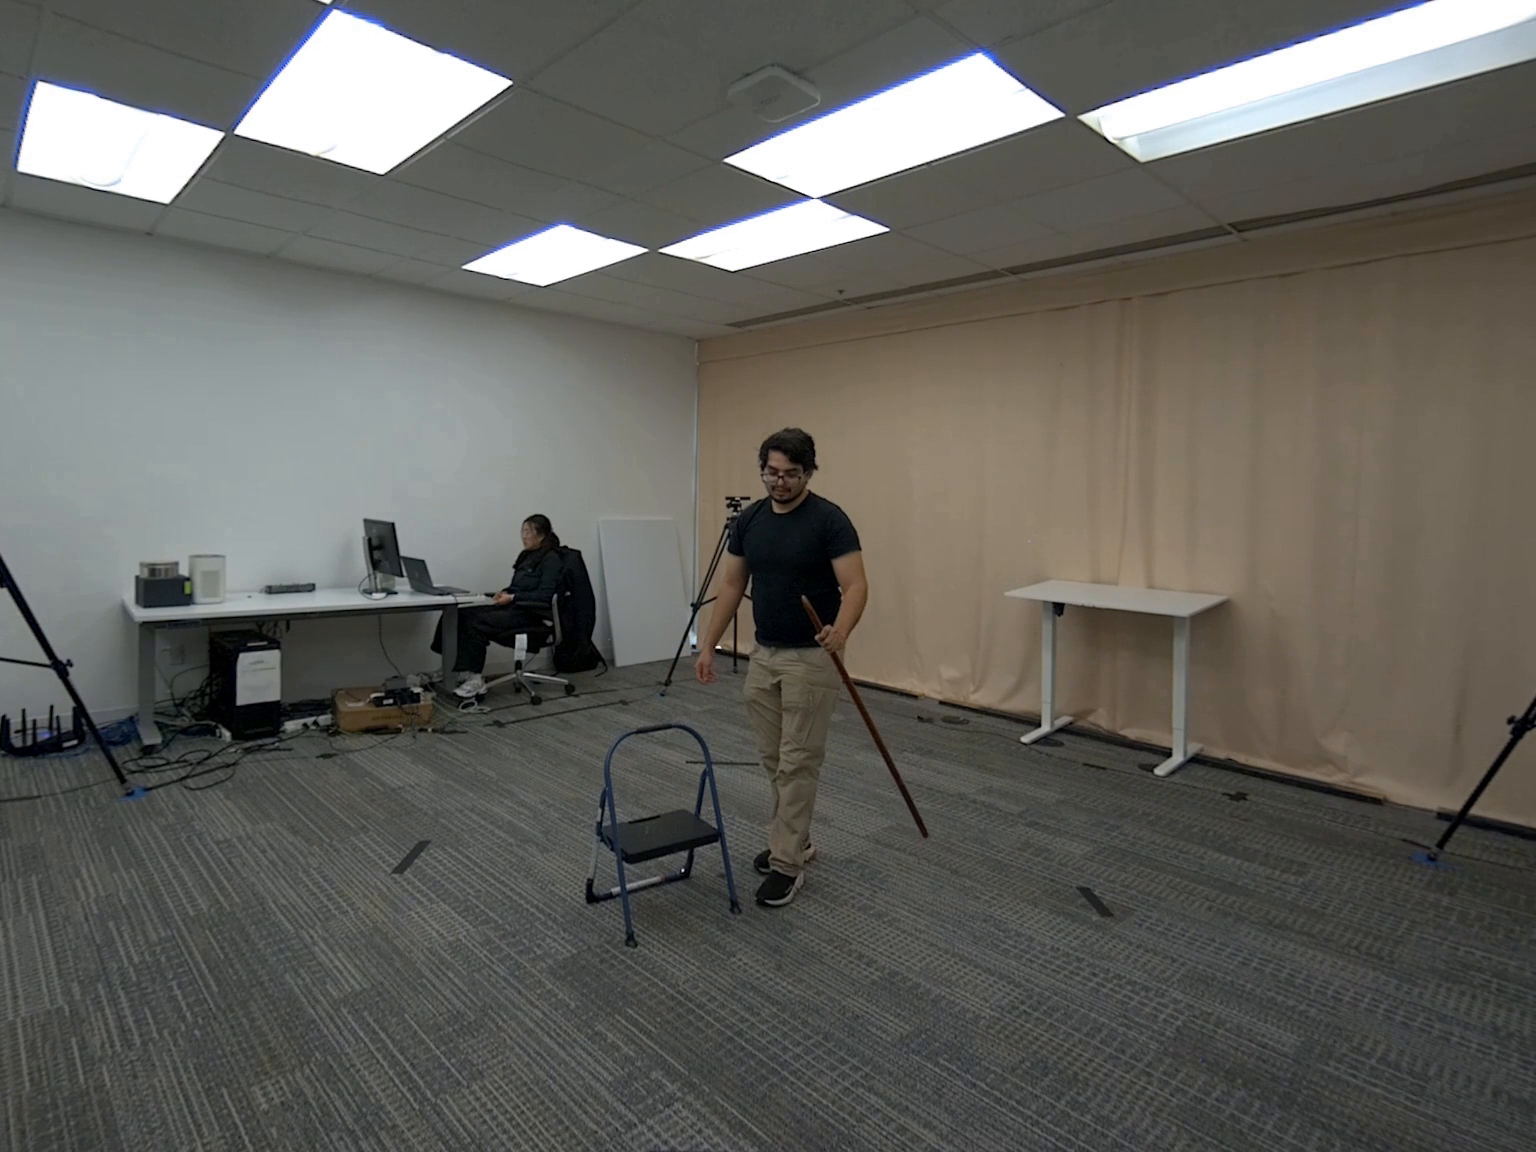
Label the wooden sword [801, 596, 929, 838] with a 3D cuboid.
[{"bbox_3d":[0.351,0.505,2.777,0.024,1.005,0.051,-9,27,39],"label":"wooden sword"}]
